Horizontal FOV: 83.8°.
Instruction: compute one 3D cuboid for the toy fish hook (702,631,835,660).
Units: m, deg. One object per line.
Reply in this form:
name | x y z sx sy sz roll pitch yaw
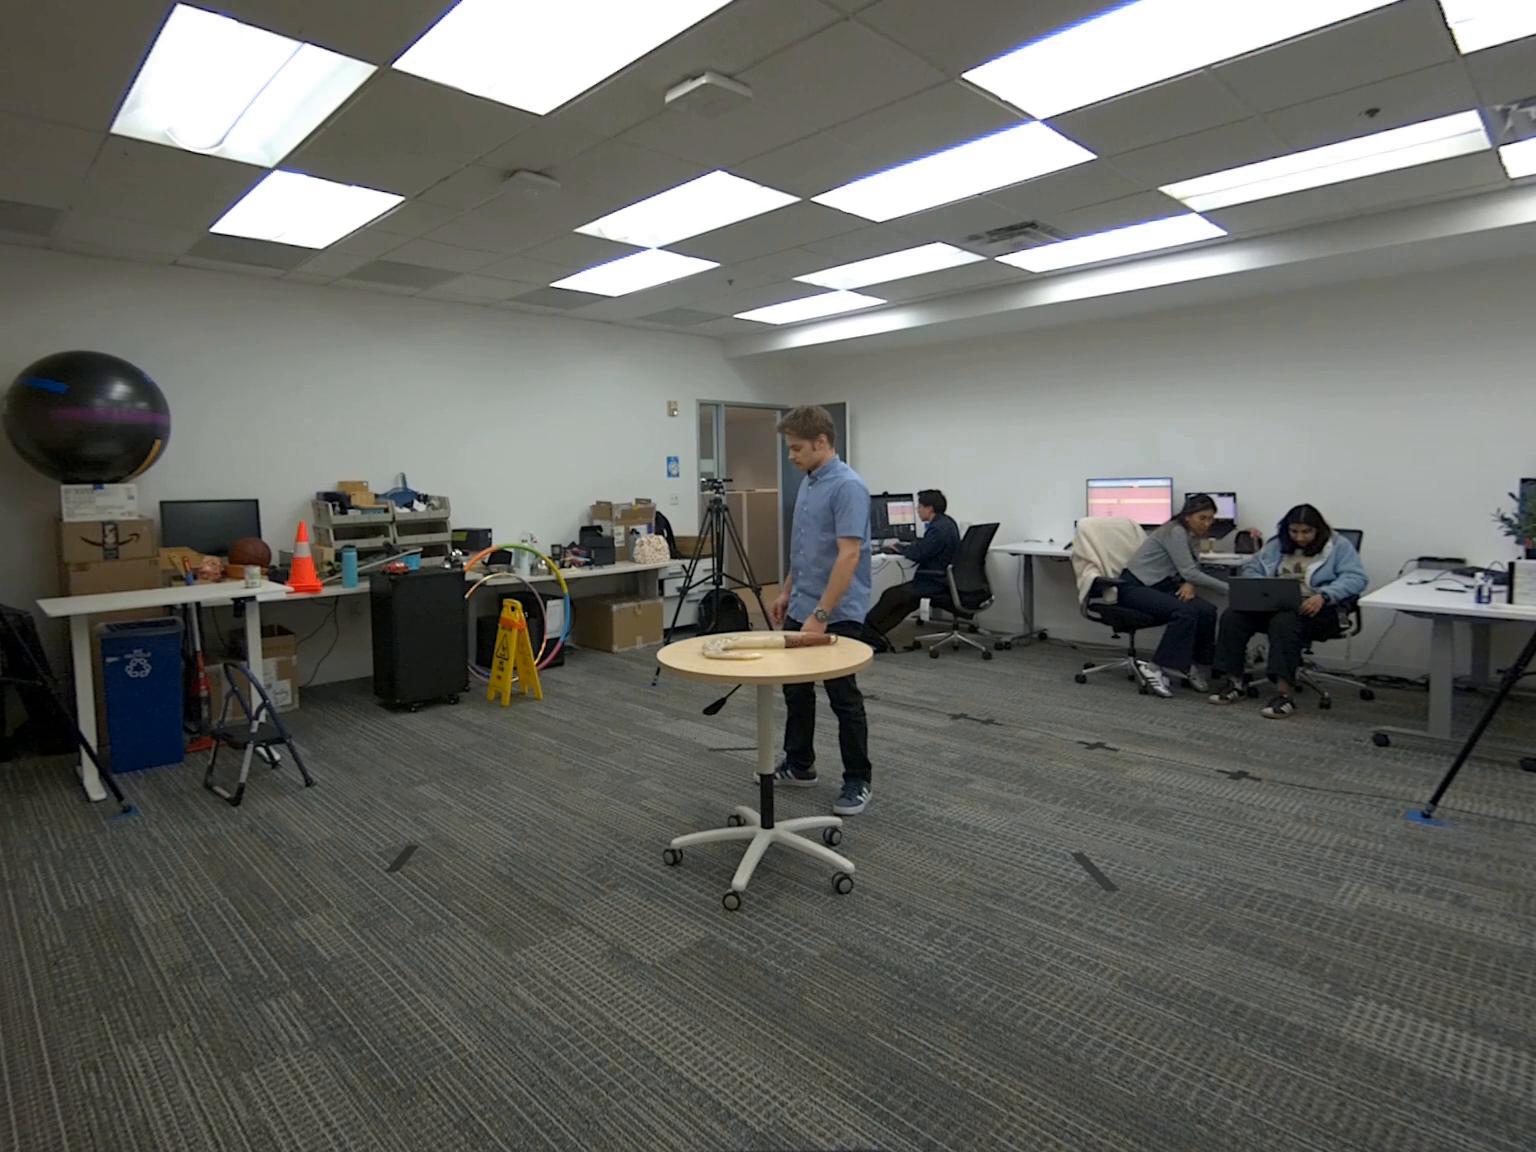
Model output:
toy fish hook | 0.017 0.254 3.033 0.502 0.048 0.229 -4 13 -10
